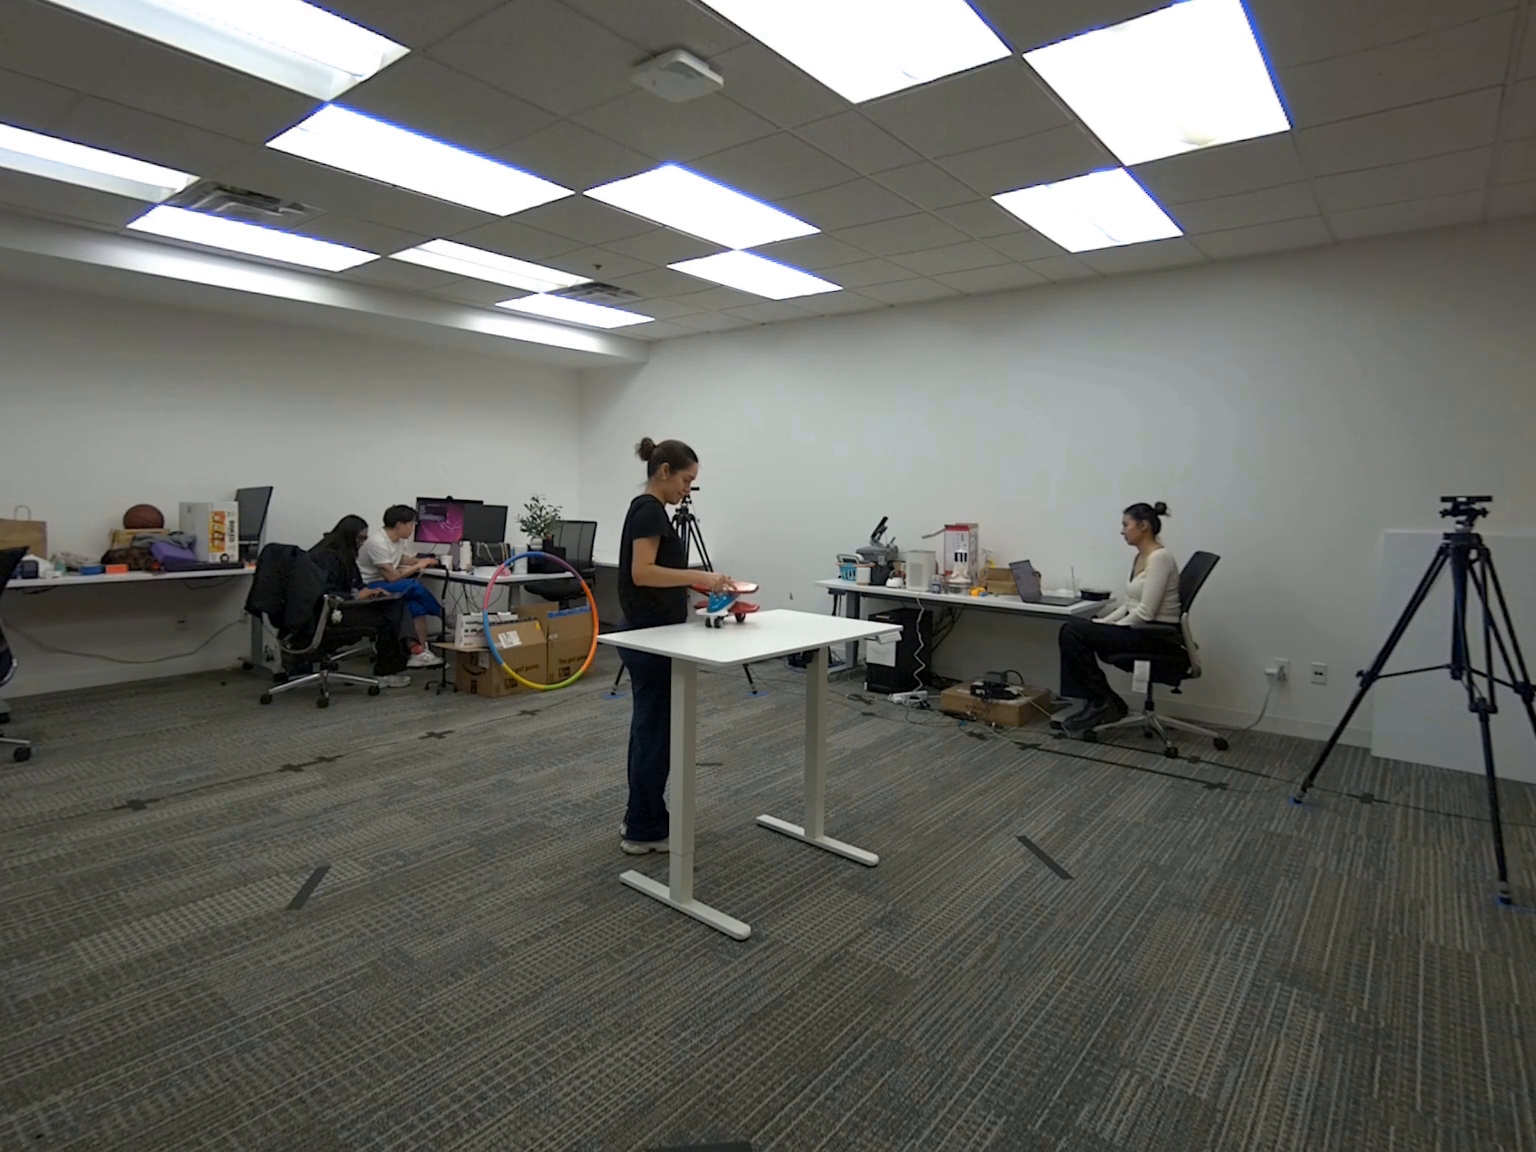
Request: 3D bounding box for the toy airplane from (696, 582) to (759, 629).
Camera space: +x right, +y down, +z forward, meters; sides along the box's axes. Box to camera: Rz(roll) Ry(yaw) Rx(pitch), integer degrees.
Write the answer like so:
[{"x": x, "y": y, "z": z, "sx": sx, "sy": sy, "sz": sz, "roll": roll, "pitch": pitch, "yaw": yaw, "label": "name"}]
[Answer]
[{"x": -0.136, "y": 0.102, "z": 3.194, "sx": 0.249, "sy": 0.156, "sz": 0.262, "roll": 1, "pitch": 4, "yaw": -9, "label": "toy airplane"}]
